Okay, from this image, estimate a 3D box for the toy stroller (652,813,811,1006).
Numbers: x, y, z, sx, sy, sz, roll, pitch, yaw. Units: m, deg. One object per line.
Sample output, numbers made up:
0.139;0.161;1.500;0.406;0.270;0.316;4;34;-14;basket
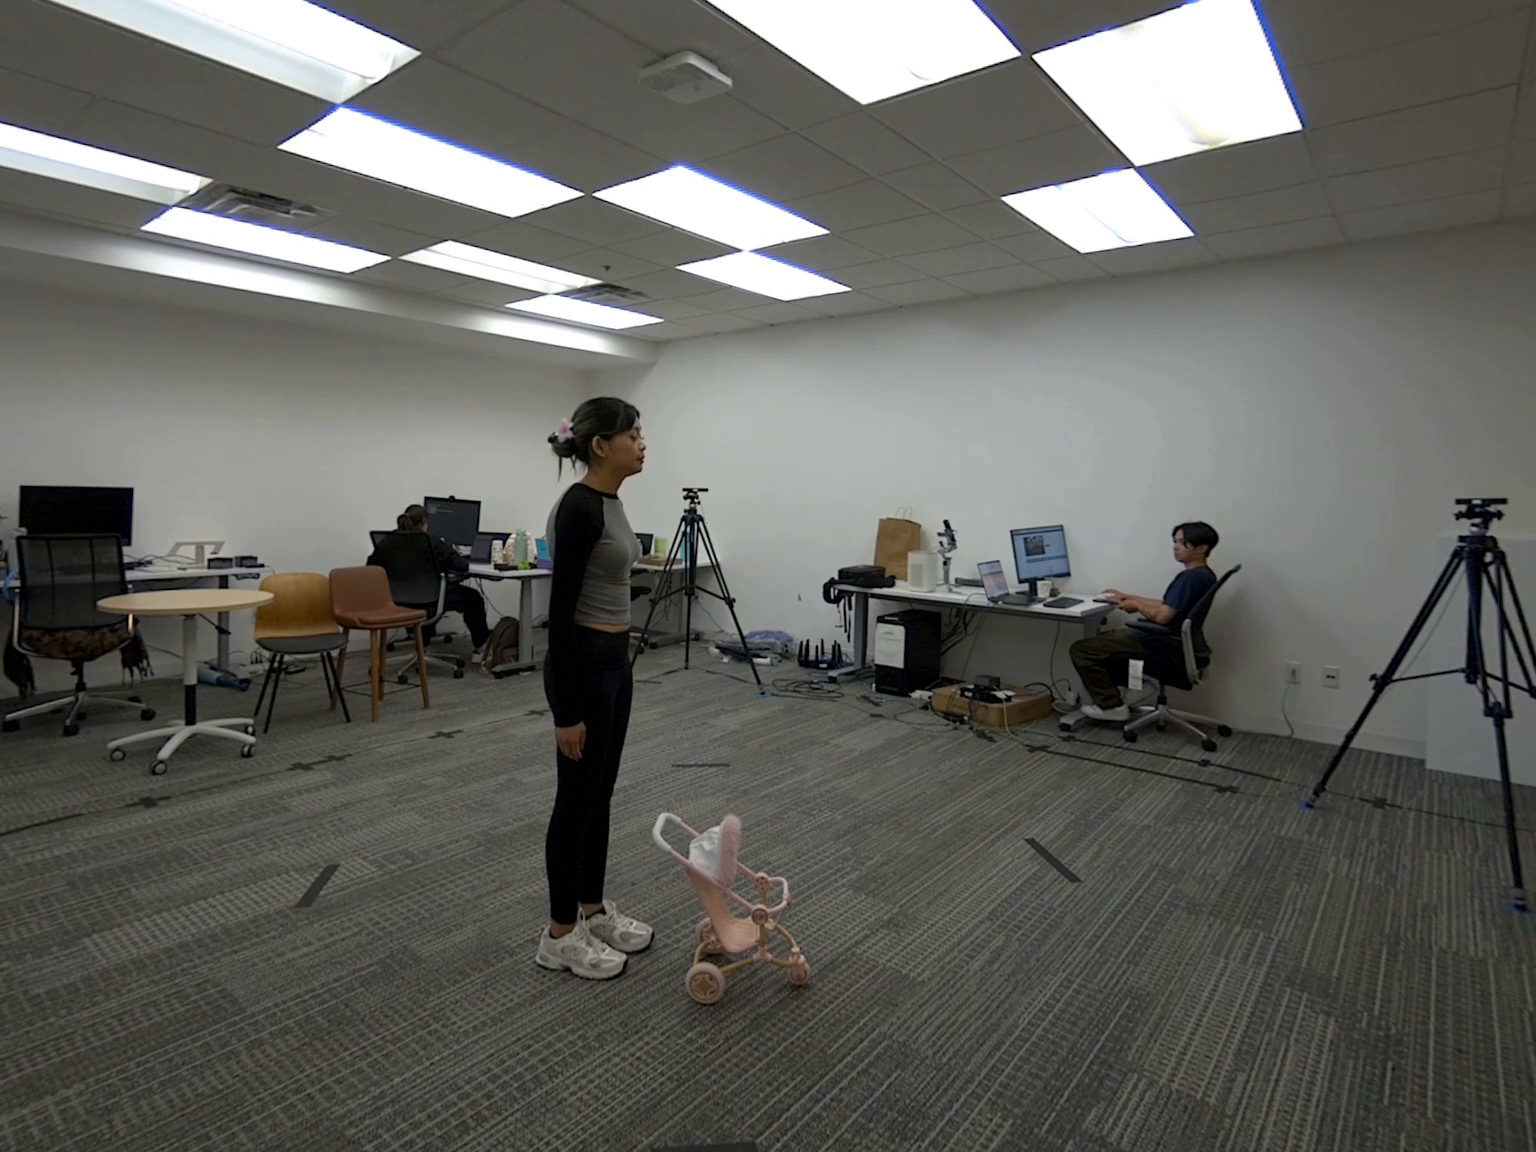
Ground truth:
-0.103;0.920;2.395;0.344;0.535;0.279;-13;1;10;toy stroller
